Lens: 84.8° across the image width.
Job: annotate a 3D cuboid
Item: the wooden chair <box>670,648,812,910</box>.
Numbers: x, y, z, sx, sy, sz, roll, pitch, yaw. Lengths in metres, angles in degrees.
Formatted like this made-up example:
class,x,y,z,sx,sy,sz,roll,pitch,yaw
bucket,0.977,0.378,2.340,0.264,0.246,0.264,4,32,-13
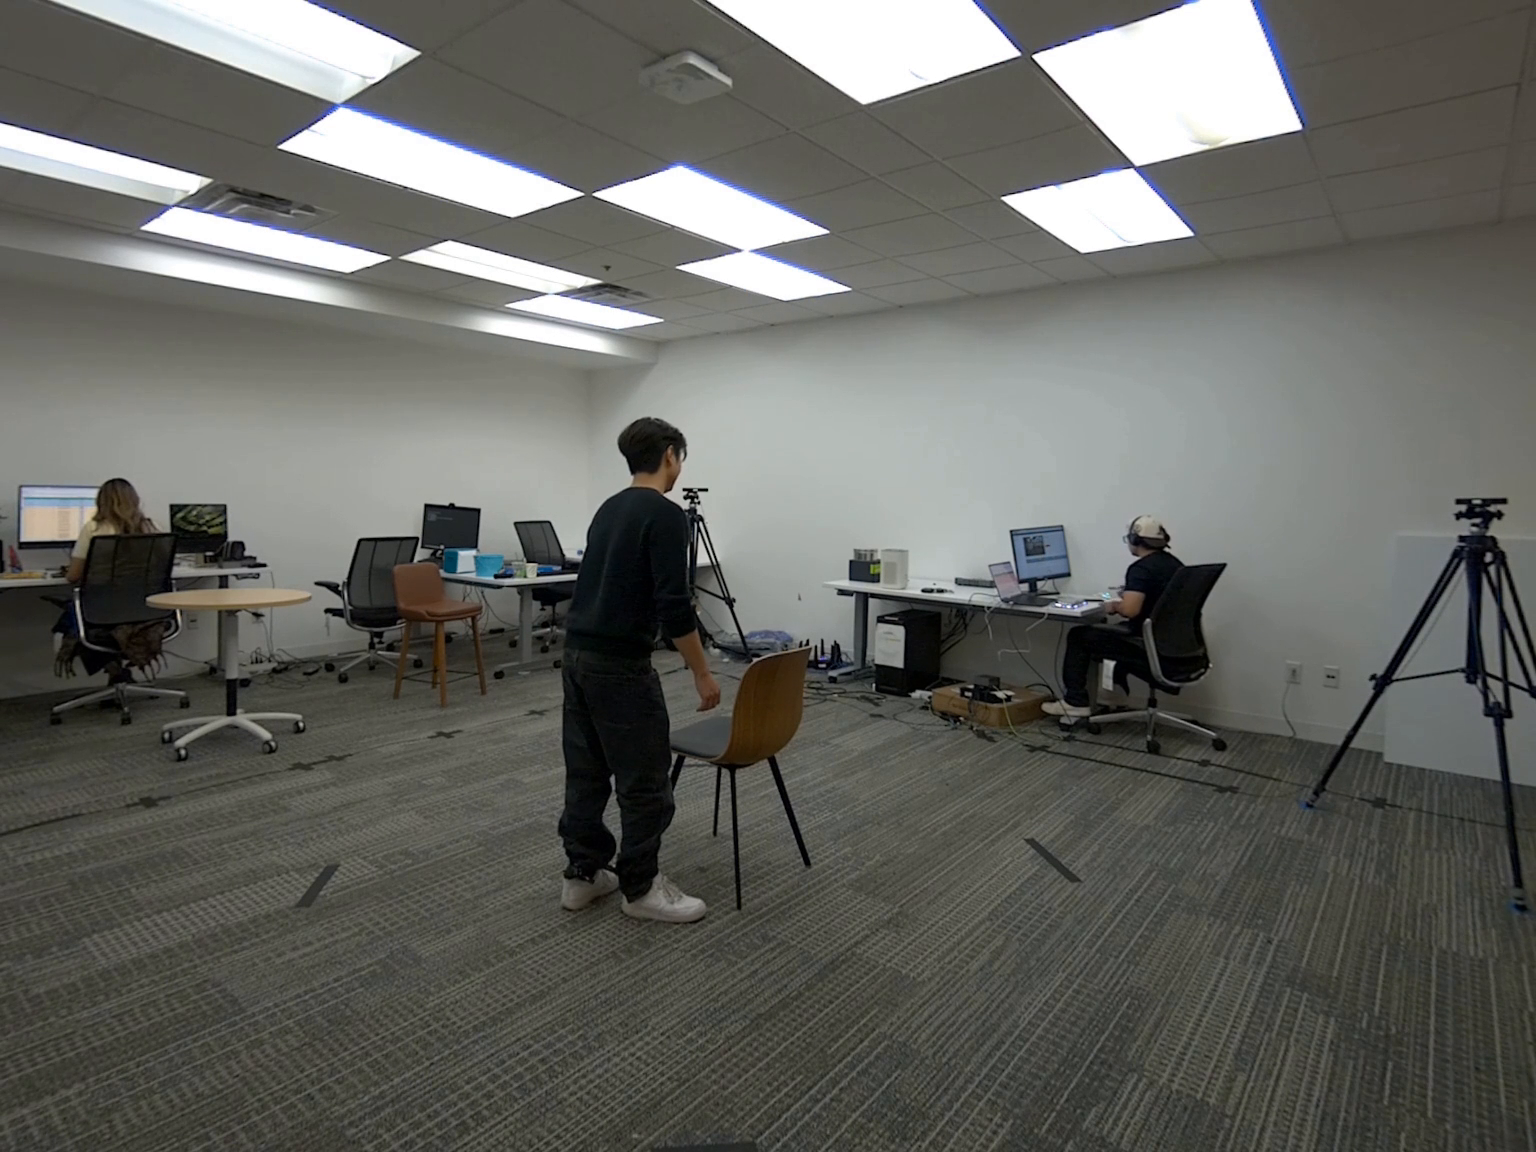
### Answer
class,x,y,z,sx,sy,sz,roll,pitch,yaw
wooden chair,-0.160,0.643,3.100,0.541,0.873,0.464,9,7,36
